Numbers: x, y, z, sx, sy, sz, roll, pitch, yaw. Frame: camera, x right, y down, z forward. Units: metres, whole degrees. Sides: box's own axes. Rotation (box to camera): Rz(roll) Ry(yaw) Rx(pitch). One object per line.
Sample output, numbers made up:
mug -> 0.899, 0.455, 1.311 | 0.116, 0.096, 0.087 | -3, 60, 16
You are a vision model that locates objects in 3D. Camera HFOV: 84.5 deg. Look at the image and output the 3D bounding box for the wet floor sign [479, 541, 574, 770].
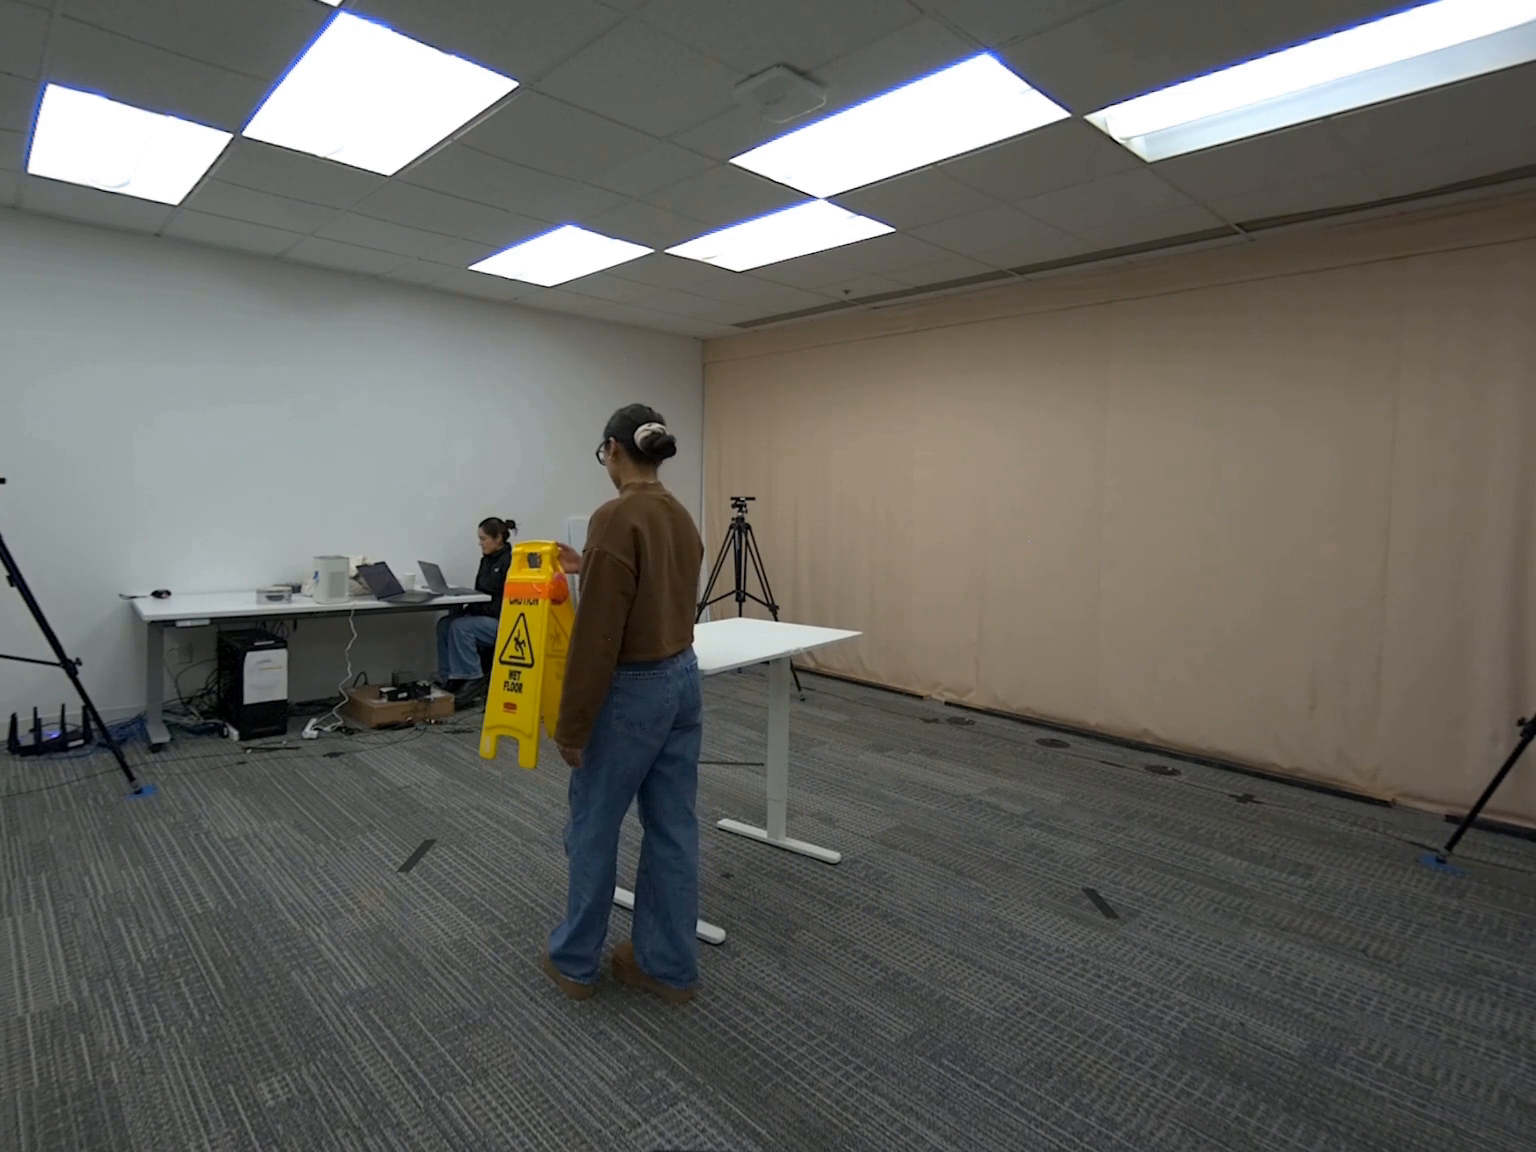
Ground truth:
wet floor sign -> -0.709, 0.219, 2.576 | 0.289, 0.646, 0.283 | -1, 1, 38
